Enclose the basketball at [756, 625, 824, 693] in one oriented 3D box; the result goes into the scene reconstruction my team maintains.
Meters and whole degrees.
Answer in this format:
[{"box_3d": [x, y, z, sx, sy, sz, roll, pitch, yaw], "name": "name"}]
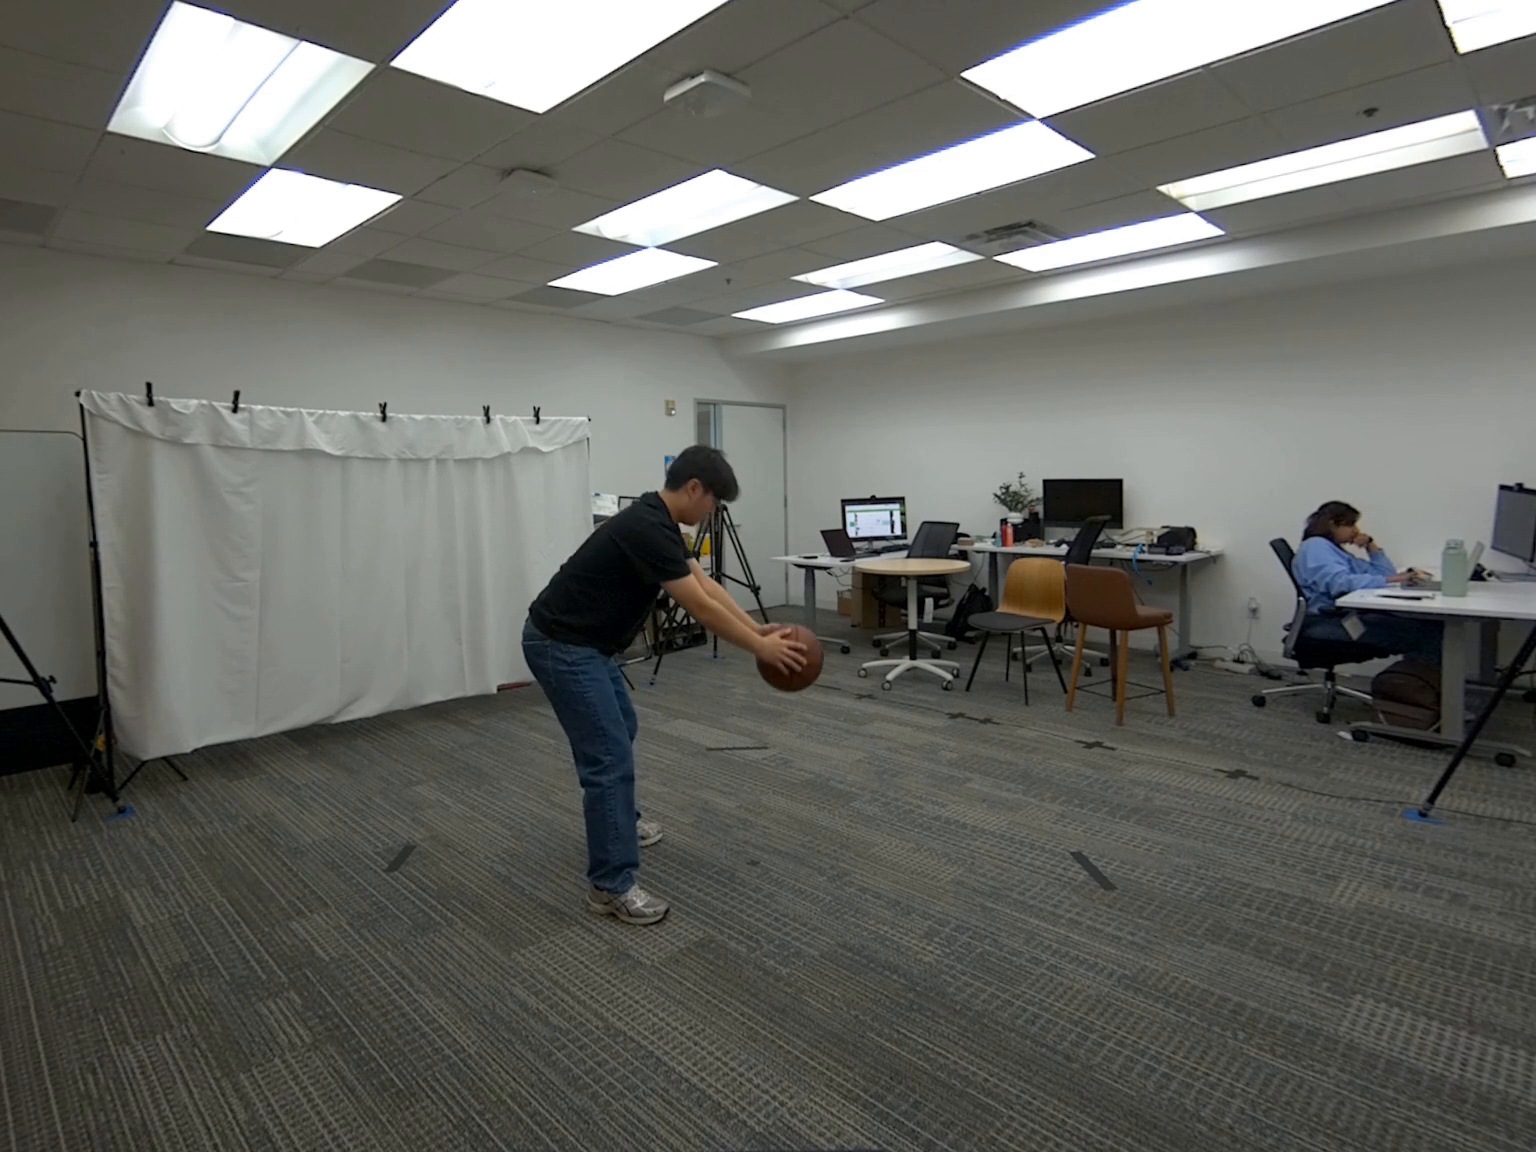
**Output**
[{"box_3d": [0.074, 0.269, 3.006, 0.236, 0.235, 0.237, -1, 5, -2], "name": "basketball"}]
